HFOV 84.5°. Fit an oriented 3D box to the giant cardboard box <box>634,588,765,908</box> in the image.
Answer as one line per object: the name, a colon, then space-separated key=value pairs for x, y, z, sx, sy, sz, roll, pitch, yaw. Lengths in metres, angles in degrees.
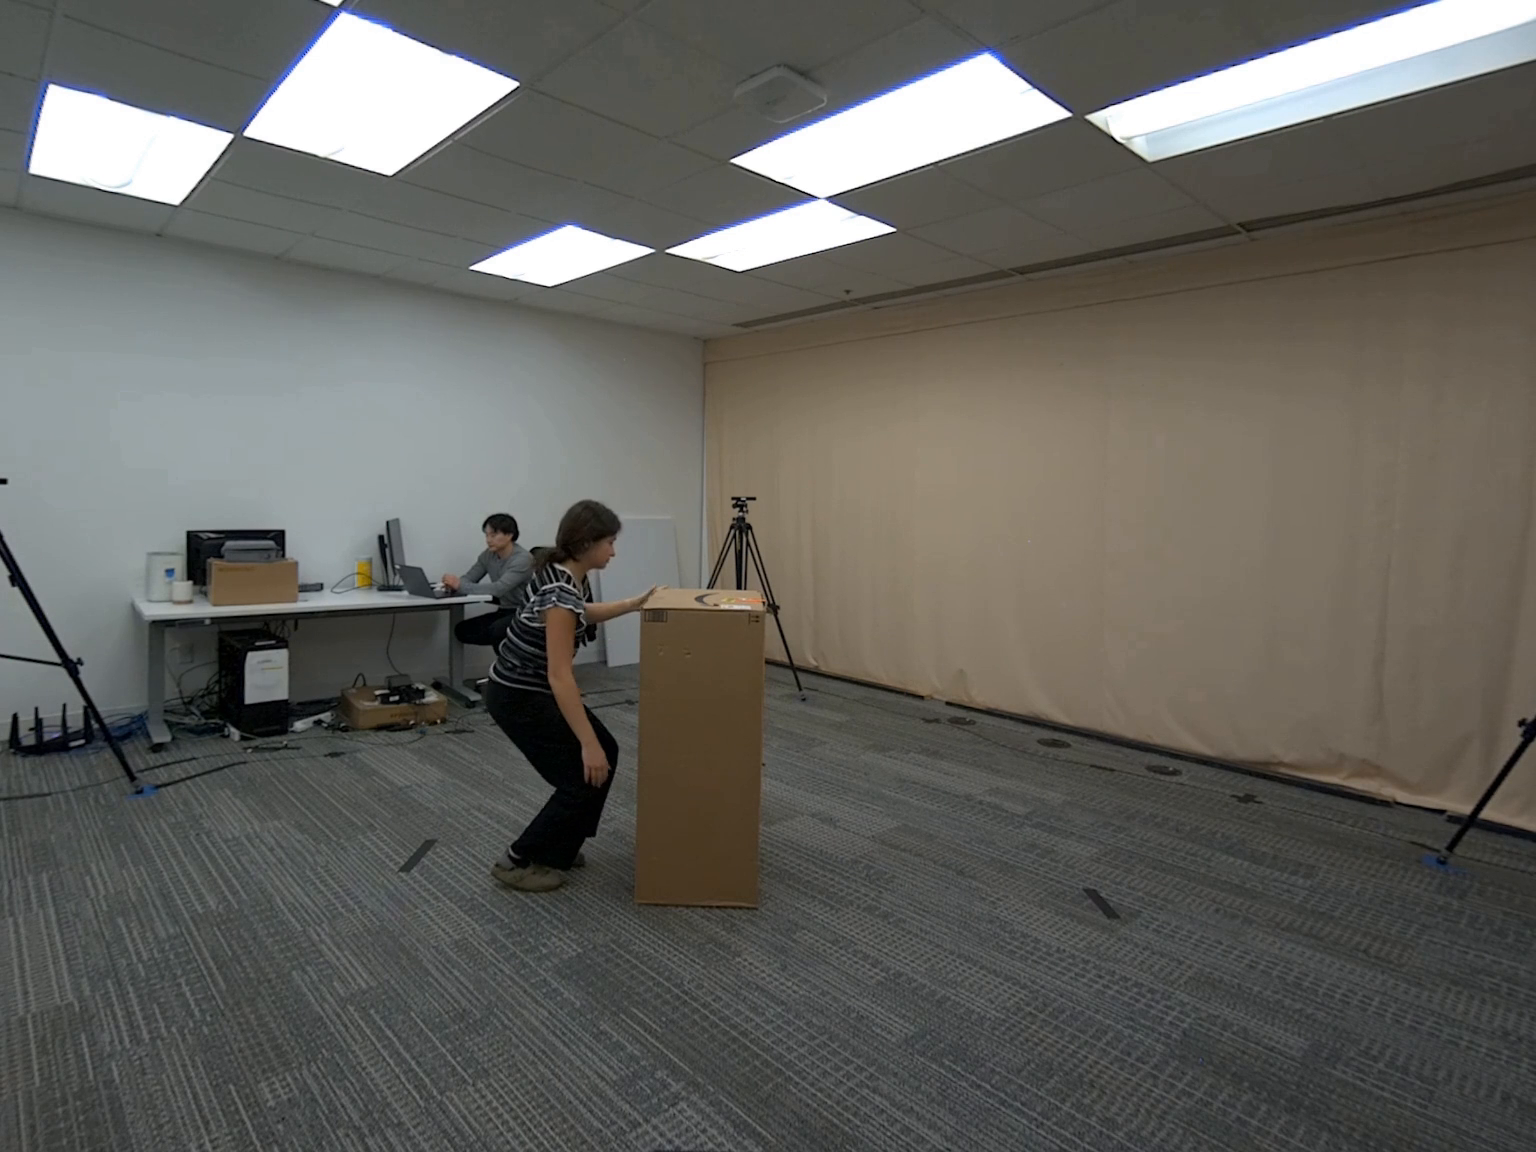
giant cardboard box: x=-0.246 y=0.594 z=3.126 sx=0.426 sy=1.023 sz=0.579 roll=2 pitch=4 yaw=-2
